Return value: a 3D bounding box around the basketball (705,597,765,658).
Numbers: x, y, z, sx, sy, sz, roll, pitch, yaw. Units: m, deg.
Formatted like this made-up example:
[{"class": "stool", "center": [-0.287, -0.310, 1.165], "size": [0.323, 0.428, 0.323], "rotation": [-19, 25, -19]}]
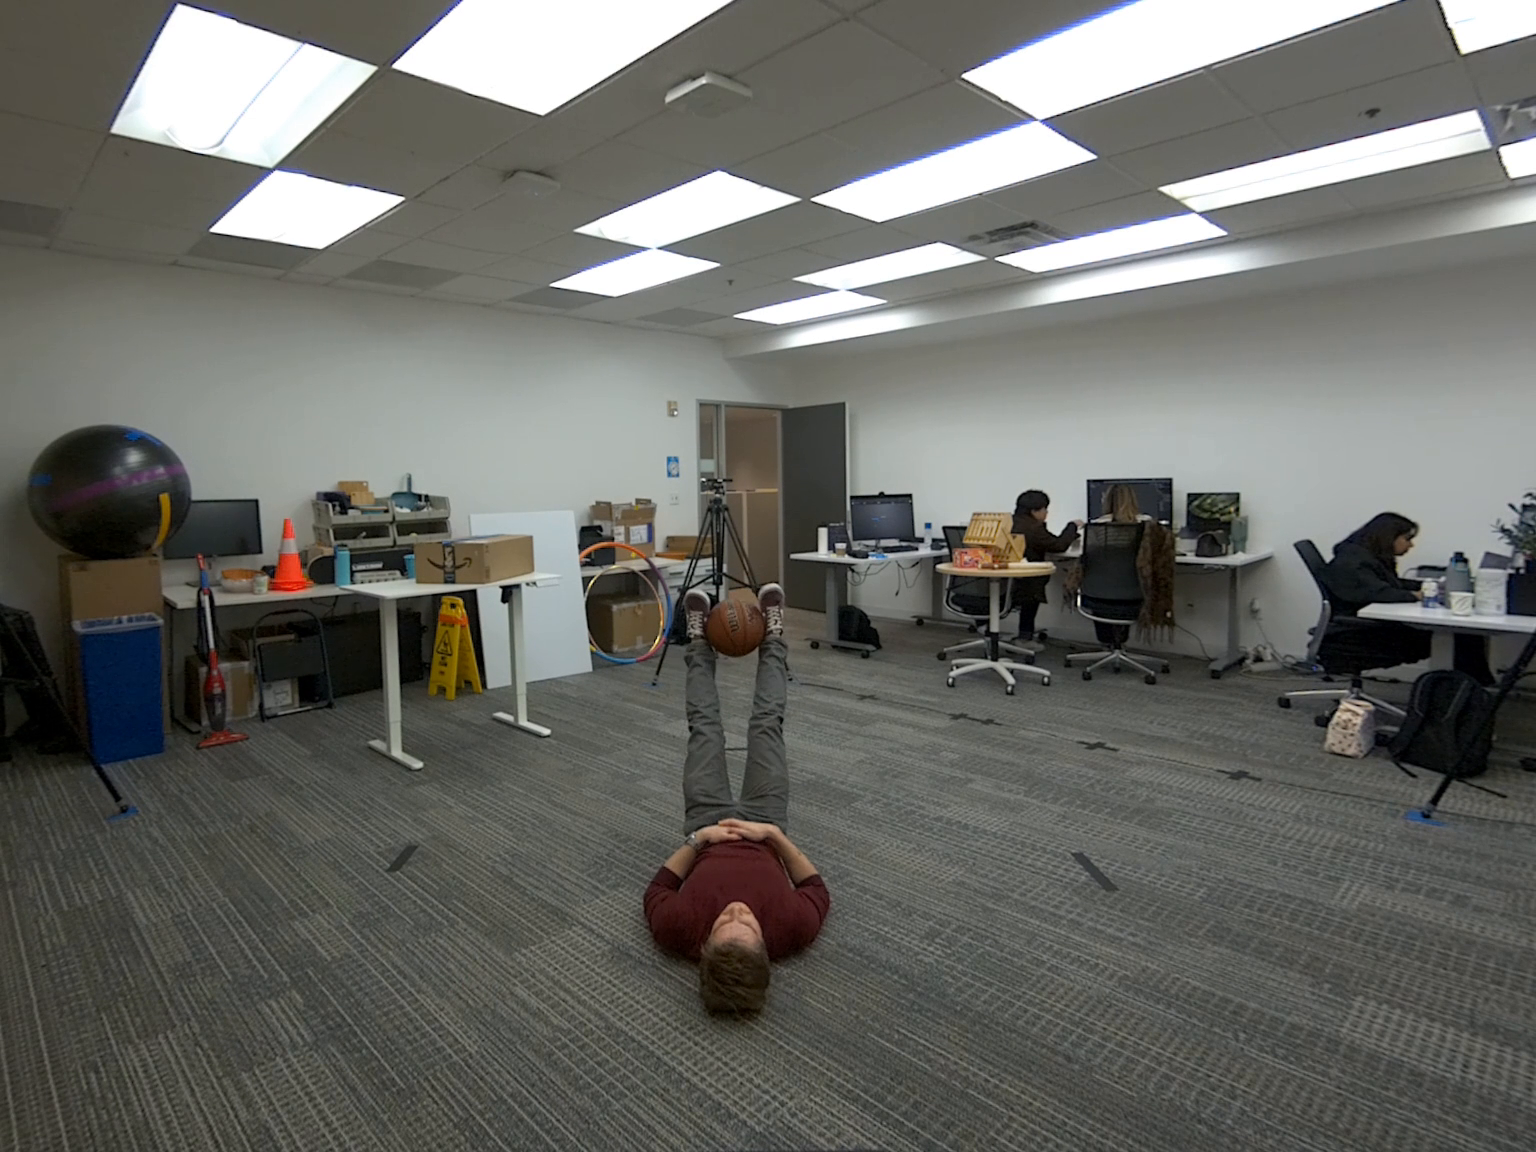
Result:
[{"class": "basketball", "center": [-0.127, 0.206, 3.441], "size": [0.236, 0.236, 0.236], "rotation": [0, 1, -2]}]
